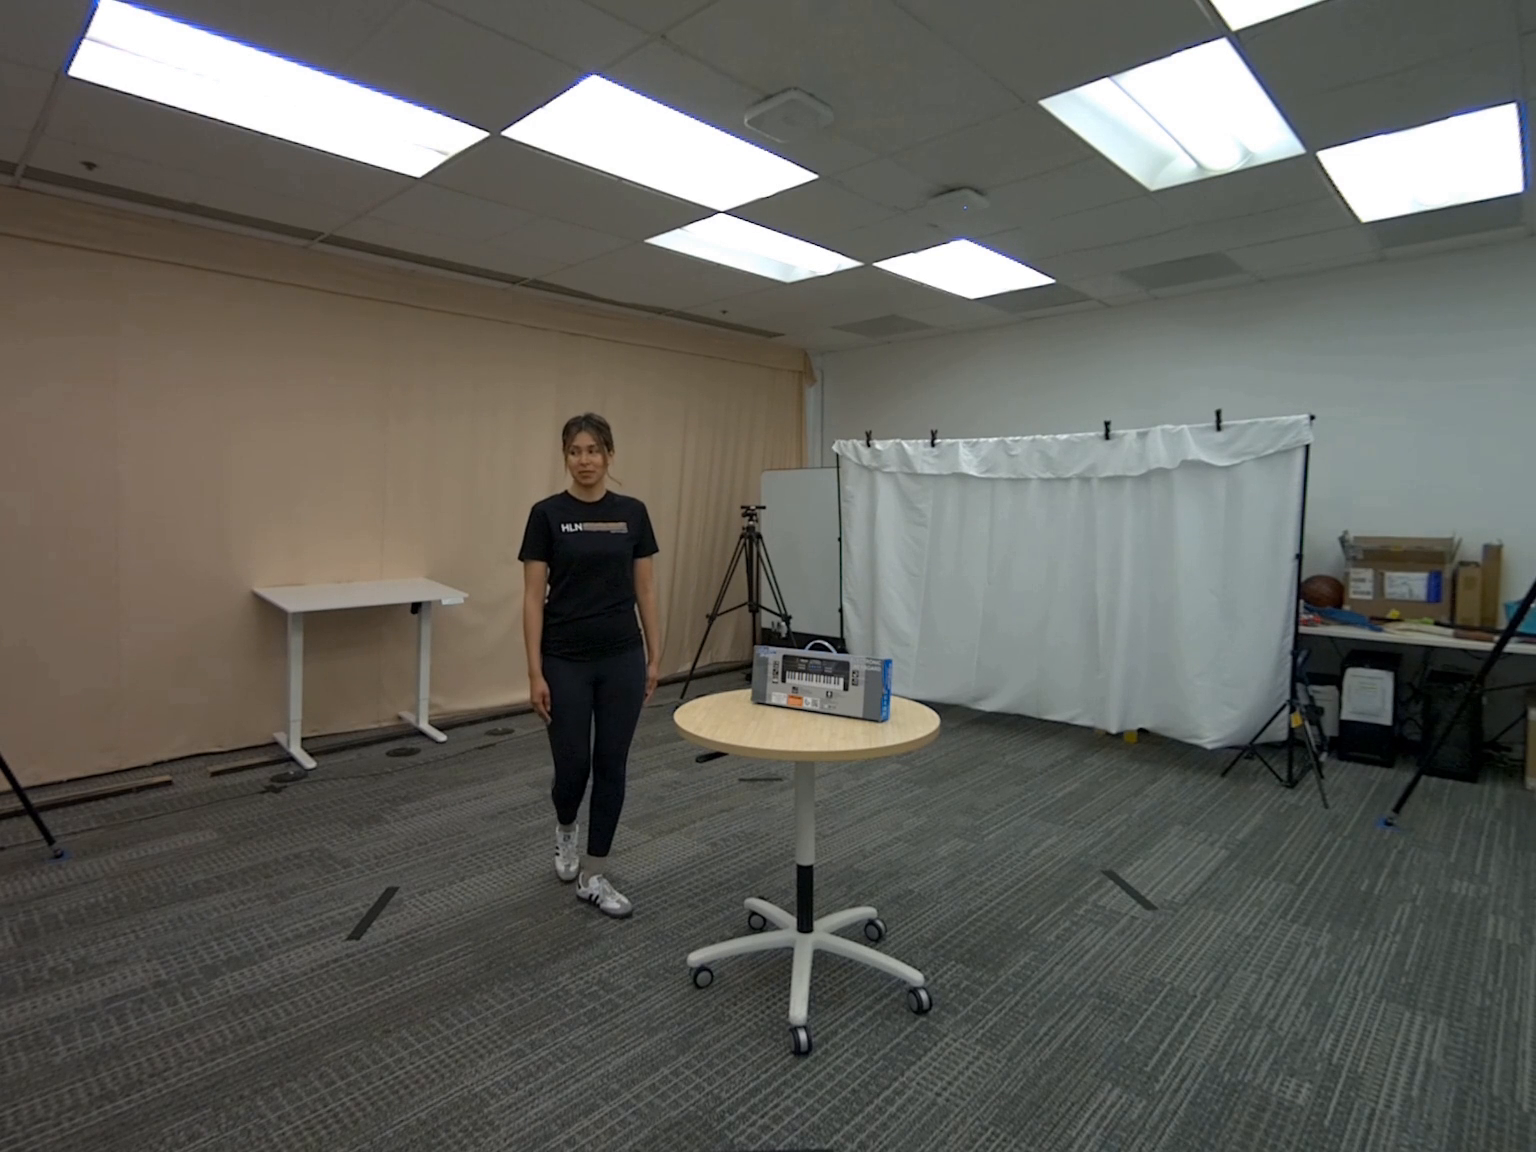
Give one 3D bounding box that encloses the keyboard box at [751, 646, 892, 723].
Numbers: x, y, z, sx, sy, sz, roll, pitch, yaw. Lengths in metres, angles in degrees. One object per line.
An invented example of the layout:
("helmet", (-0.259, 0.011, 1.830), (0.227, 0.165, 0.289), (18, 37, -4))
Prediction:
("keyboard box", (0.156, 0.315, 2.490), (0.450, 0.176, 0.057), (2, -4, 35))
